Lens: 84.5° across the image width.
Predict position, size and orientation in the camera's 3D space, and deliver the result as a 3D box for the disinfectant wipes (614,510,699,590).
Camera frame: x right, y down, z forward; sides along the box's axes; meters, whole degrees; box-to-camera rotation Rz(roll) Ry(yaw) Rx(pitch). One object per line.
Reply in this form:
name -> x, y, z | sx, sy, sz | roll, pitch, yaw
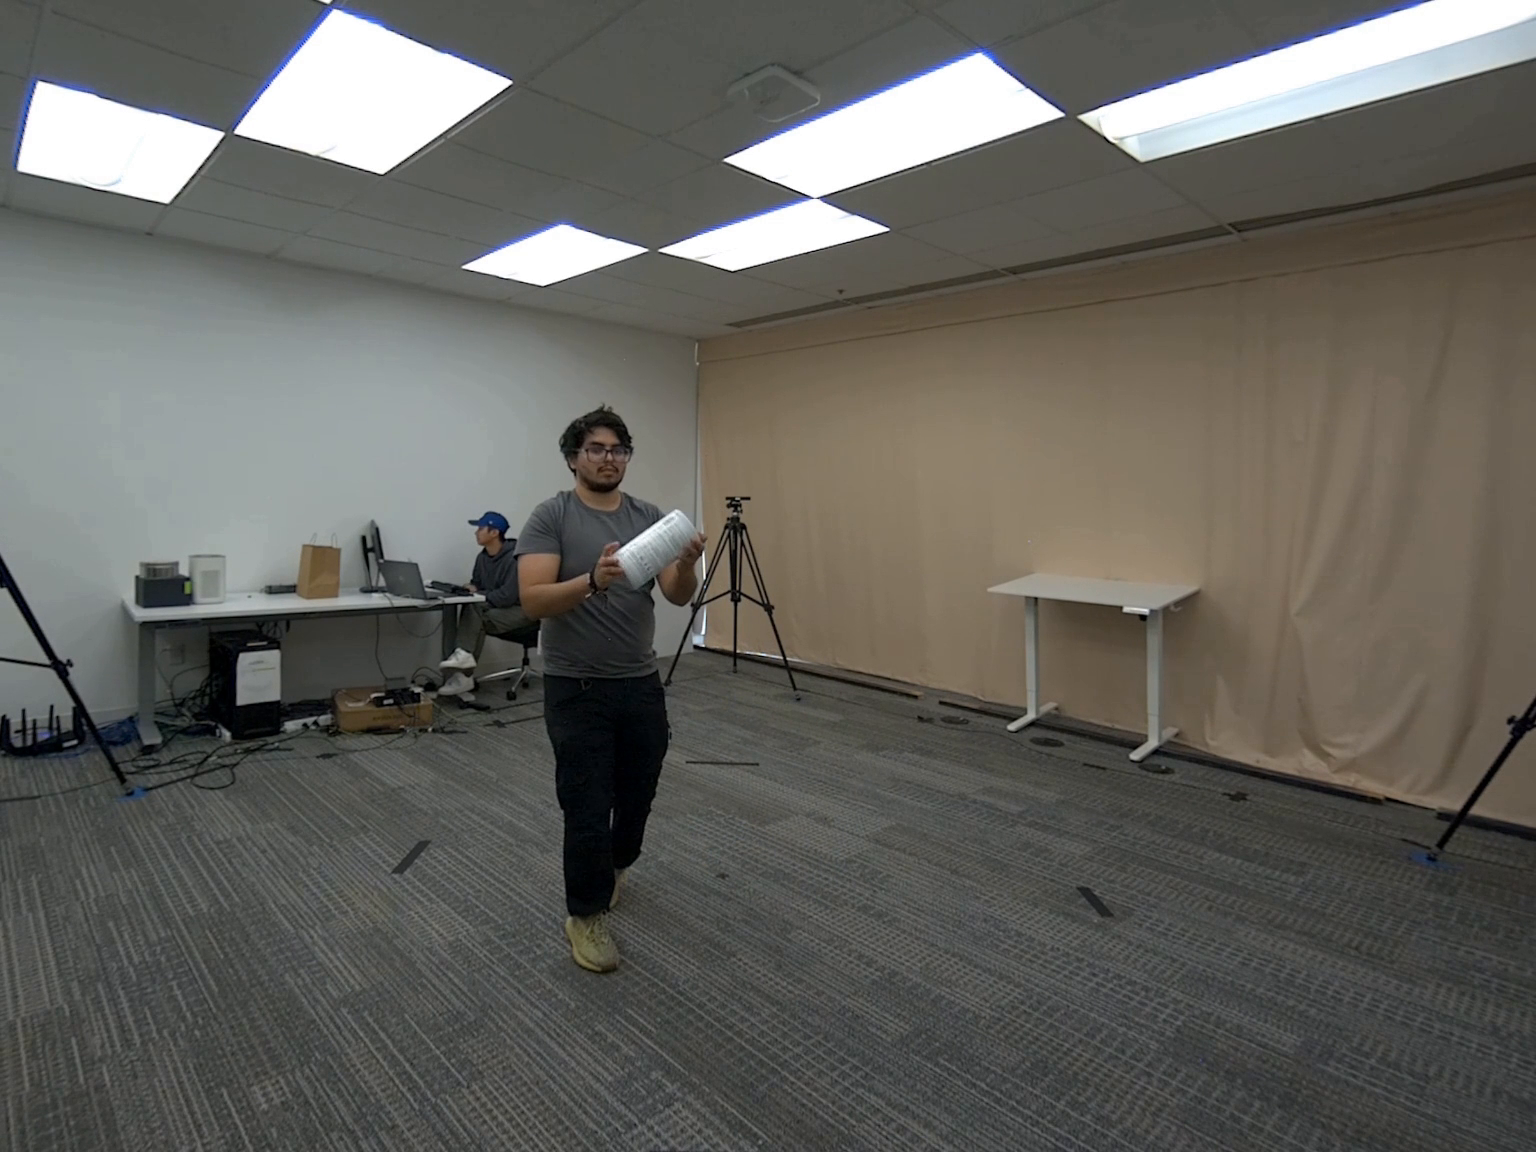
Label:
disinfectant wipes -> -0.293, -0.069, 2.175 | 0.217, 0.116, 0.120 | -38, 17, -14
